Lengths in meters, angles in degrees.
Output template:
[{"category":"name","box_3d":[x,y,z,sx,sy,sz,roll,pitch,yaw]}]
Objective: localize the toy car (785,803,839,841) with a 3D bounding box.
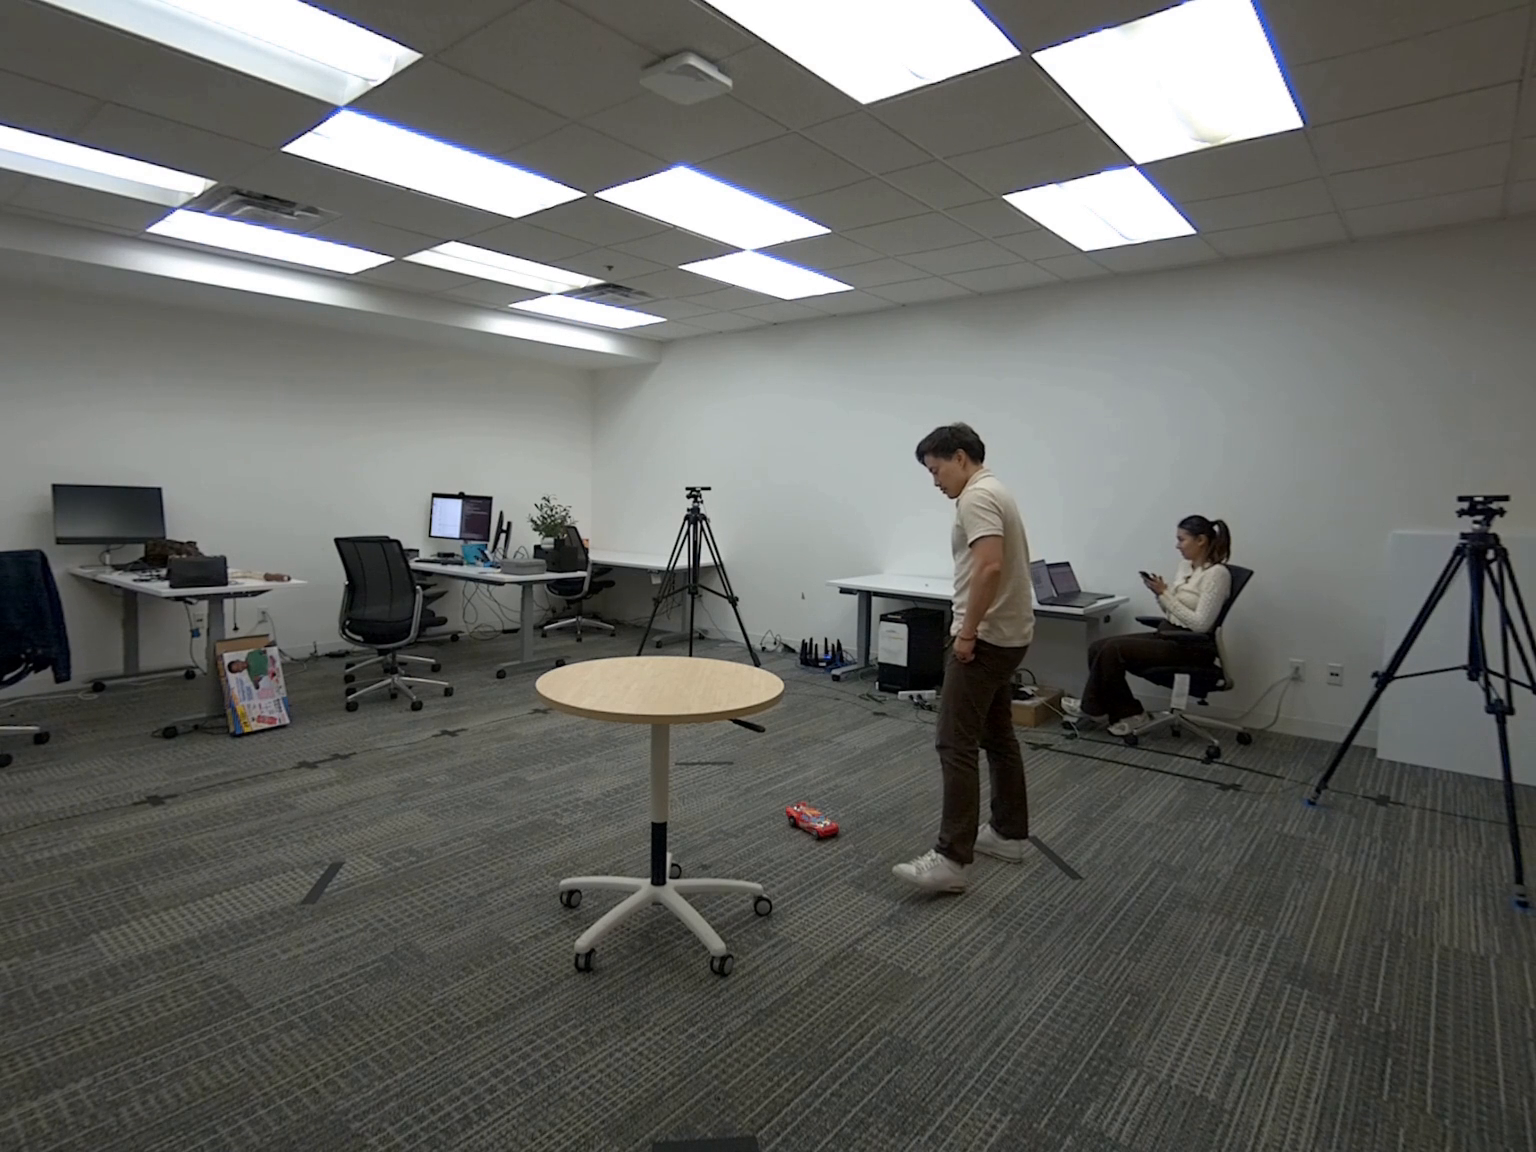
[{"category":"toy car","box_3d":[0.170,1.003,3.504,0.126,0.082,0.265,-3,17,-35]}]
